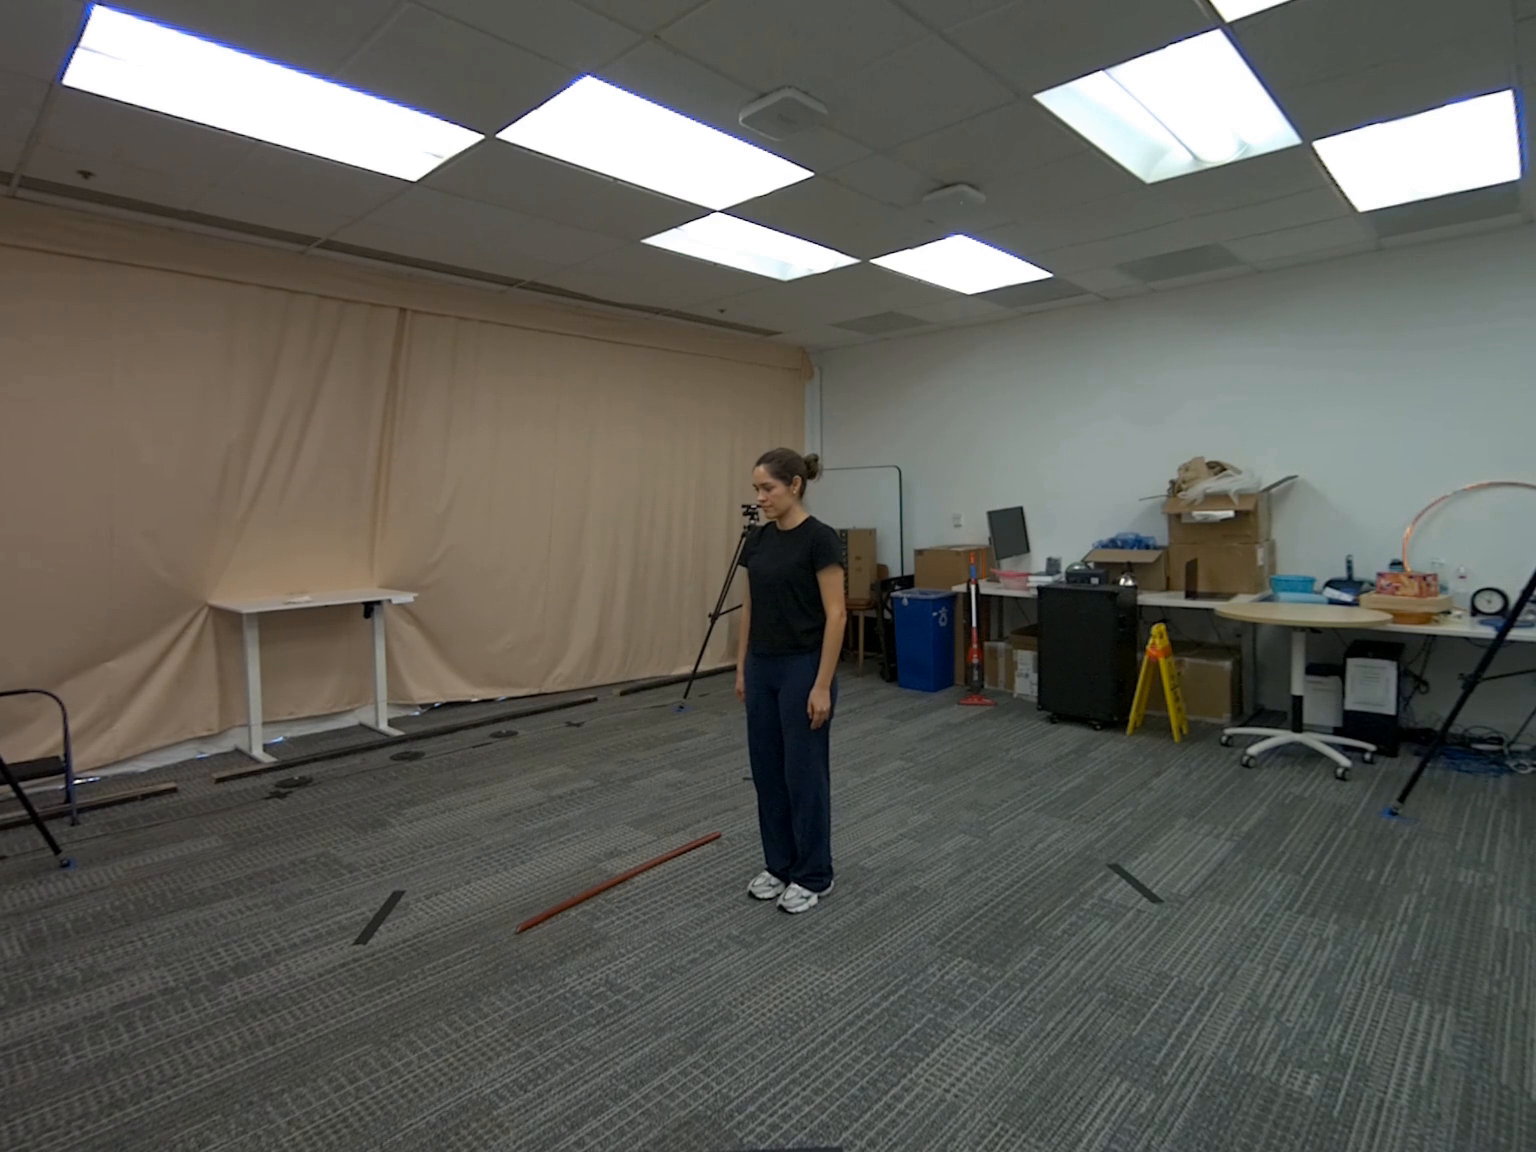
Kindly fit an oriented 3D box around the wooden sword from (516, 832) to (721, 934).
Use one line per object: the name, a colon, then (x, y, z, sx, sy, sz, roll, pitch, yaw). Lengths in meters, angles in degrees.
wooden sword: (-0.497, 1.115, 3.154, 0.053, 0.024, 0.995, -8, 0, 38)
